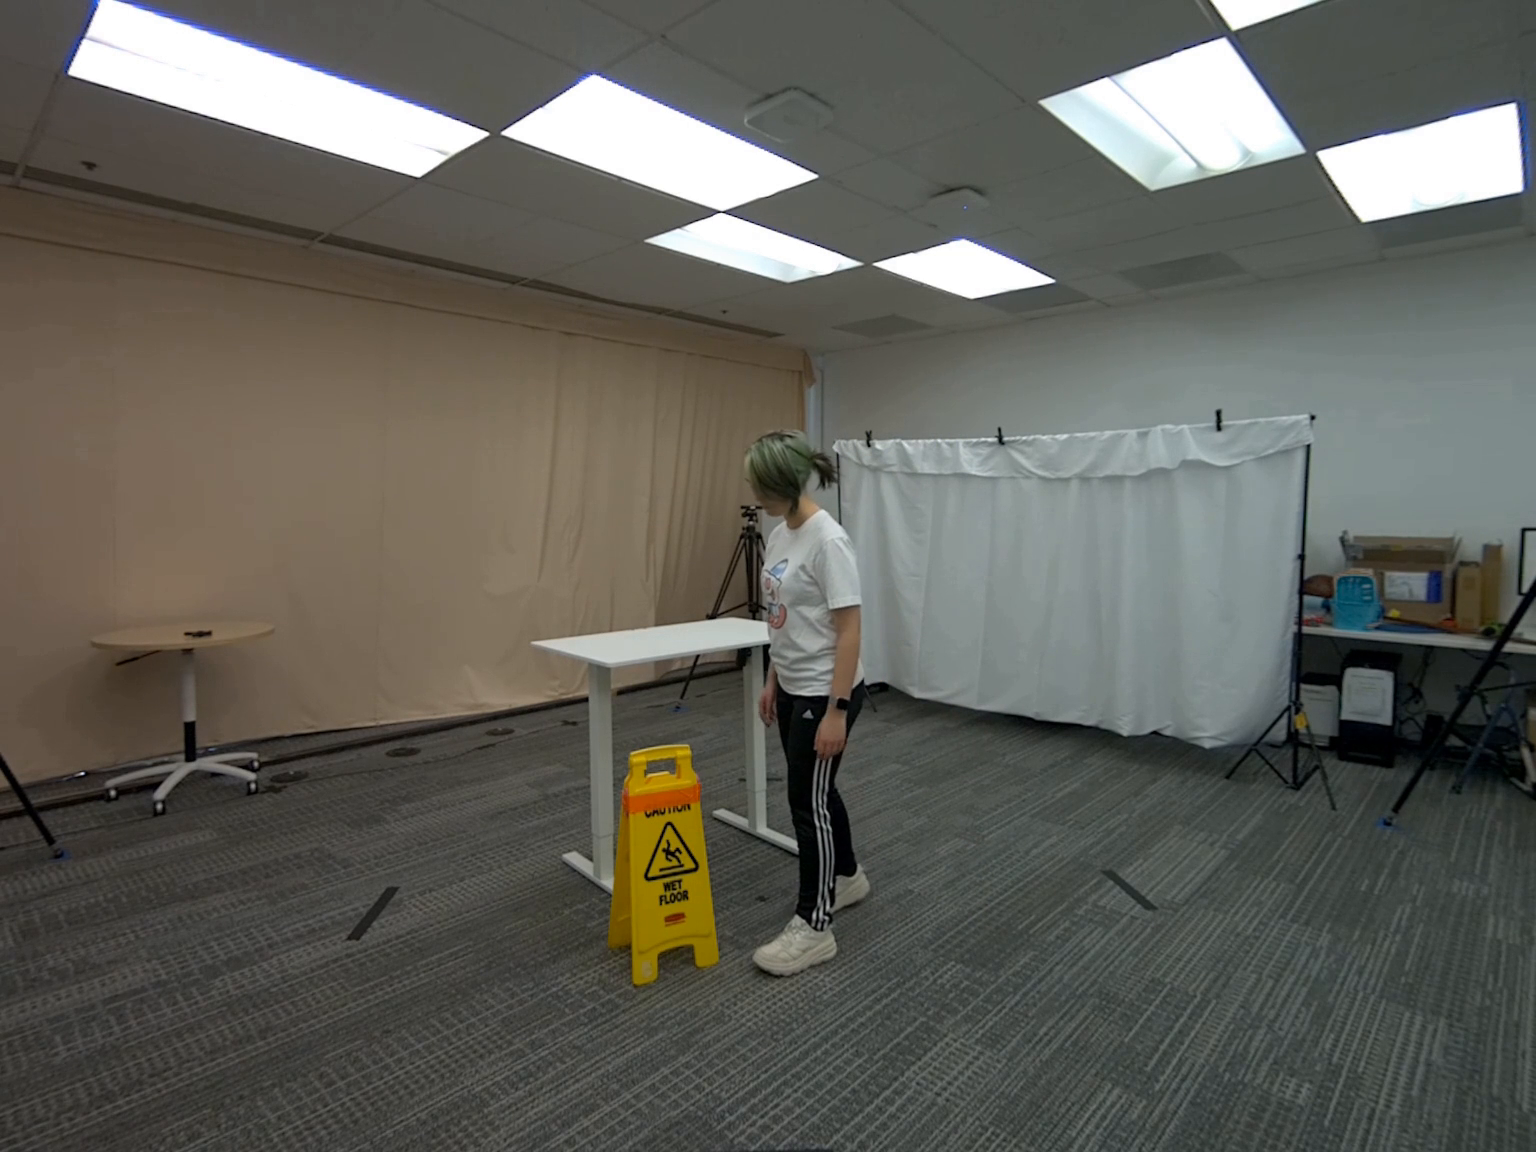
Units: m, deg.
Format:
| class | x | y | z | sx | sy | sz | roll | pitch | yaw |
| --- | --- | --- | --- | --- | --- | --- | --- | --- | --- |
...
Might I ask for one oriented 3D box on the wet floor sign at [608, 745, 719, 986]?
| class | x | y | z | sx | sy | sz | roll | pitch | yaw |
| --- | --- | --- | --- | --- | --- | --- | --- | --- | --- |
| wet floor sign | -0.329 | 0.856 | 2.593 | 0.275 | 0.644 | 0.297 | -3 | 4 | -27 |
